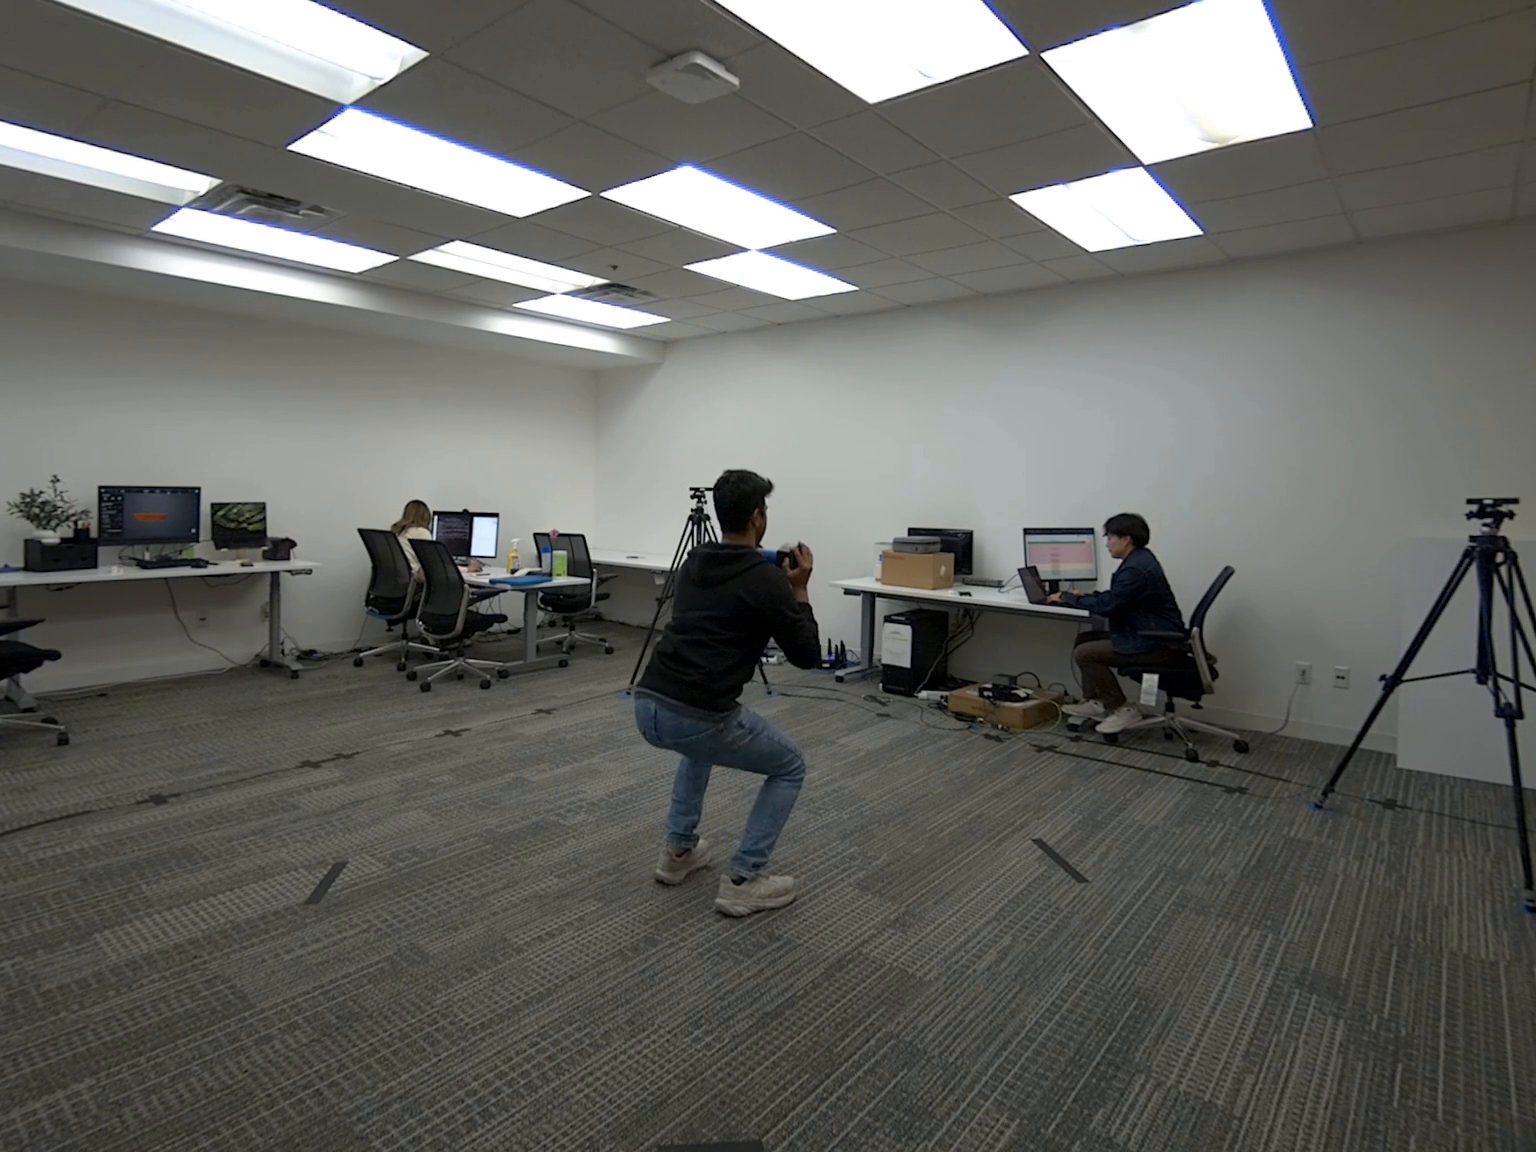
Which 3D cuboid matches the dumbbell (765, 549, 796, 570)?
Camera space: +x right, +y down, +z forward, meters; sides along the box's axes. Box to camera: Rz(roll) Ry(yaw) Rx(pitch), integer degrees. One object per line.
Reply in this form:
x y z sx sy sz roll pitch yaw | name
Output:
-0.008 -0.069 3.114 0.304 0.122 0.105 7 5 42 | dumbbell
